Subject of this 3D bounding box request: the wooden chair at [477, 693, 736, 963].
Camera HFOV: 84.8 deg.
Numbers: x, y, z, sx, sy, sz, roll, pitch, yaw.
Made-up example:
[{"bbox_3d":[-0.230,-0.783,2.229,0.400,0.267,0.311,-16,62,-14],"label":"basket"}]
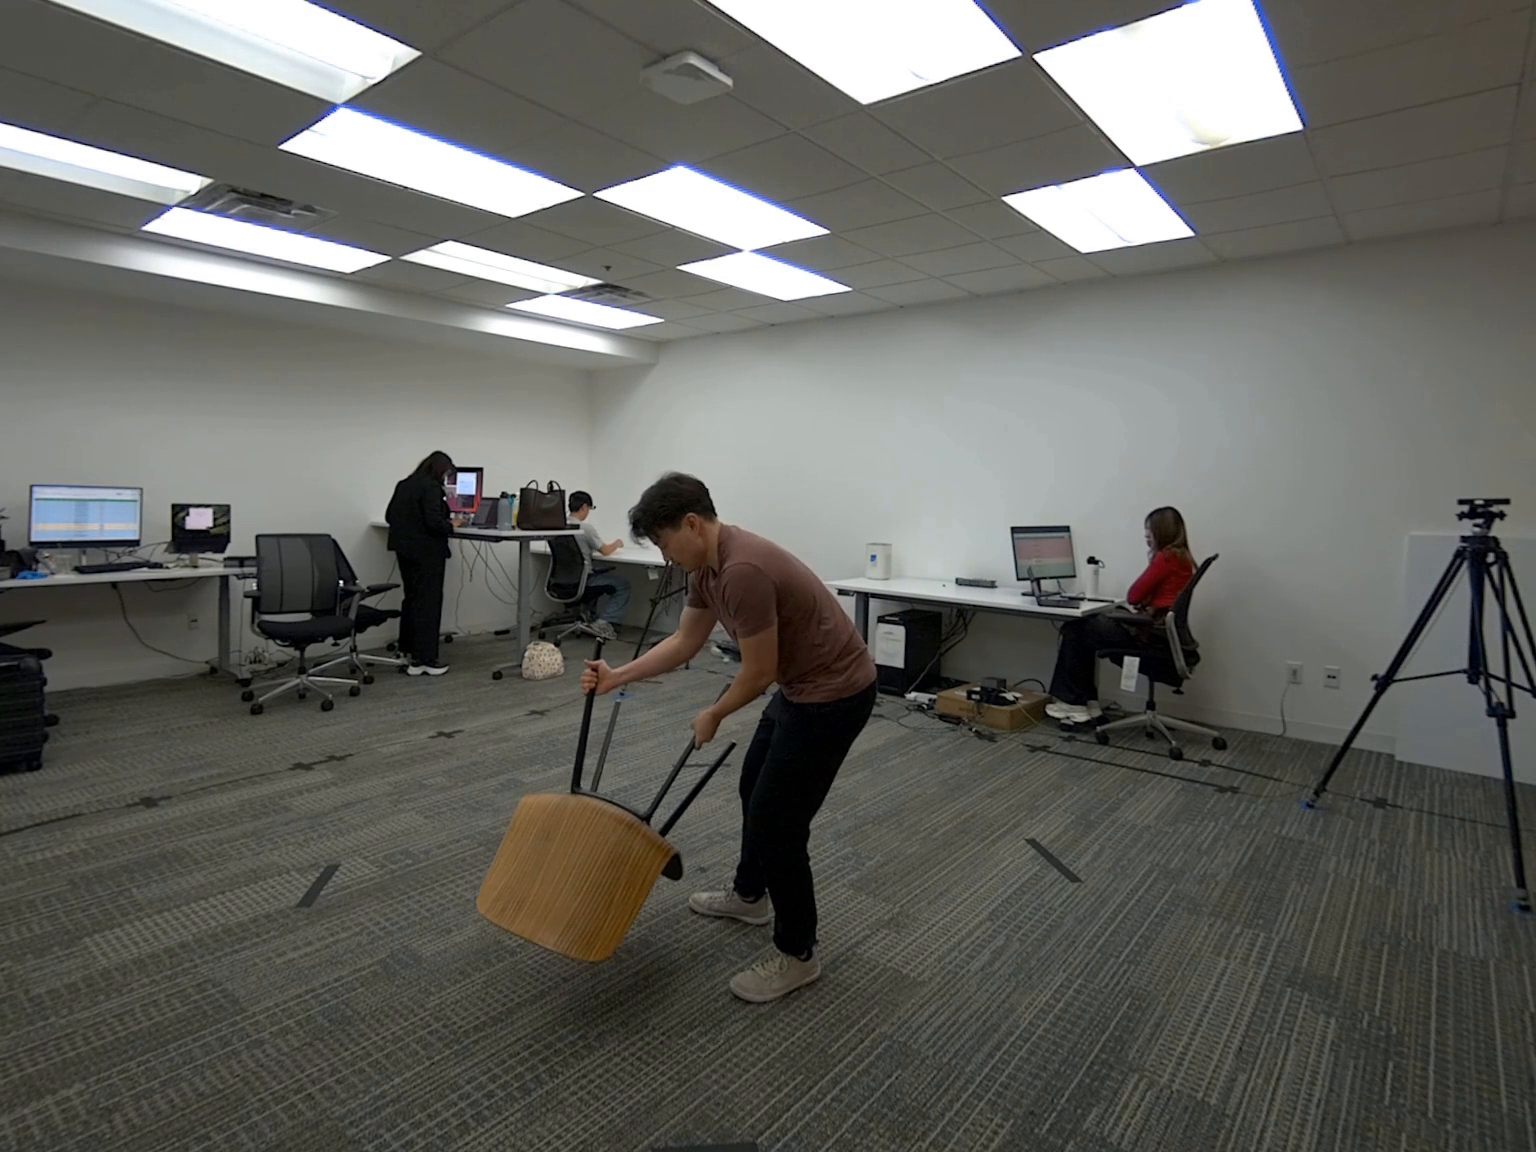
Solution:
[{"bbox_3d":[-0.471,0.727,2.536,0.486,0.888,0.509,16,-37,10],"label":"wooden chair"}]
